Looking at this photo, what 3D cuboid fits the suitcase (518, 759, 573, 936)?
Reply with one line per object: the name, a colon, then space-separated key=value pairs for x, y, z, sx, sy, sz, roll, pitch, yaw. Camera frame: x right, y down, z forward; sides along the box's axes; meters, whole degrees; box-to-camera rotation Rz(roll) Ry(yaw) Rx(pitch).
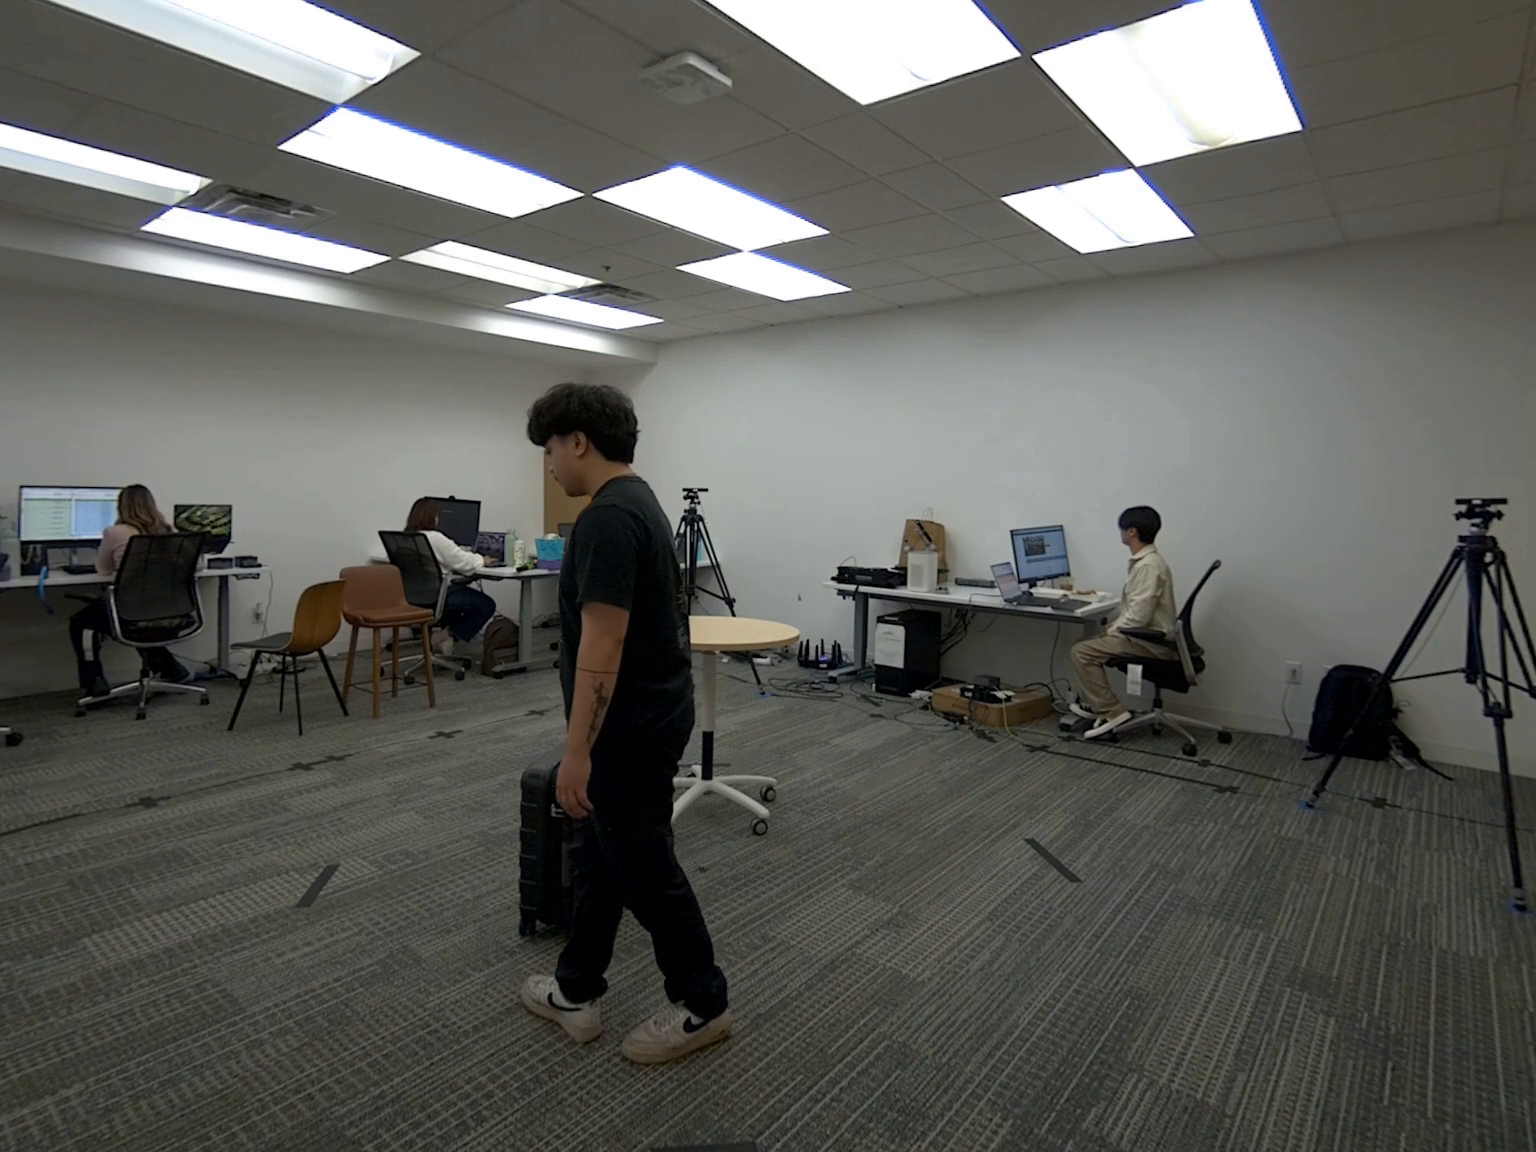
suitcase: x=-0.631 y=0.827 z=2.718 sx=0.251 sy=0.547 sz=0.373 roll=1 pitch=5 yaw=10
